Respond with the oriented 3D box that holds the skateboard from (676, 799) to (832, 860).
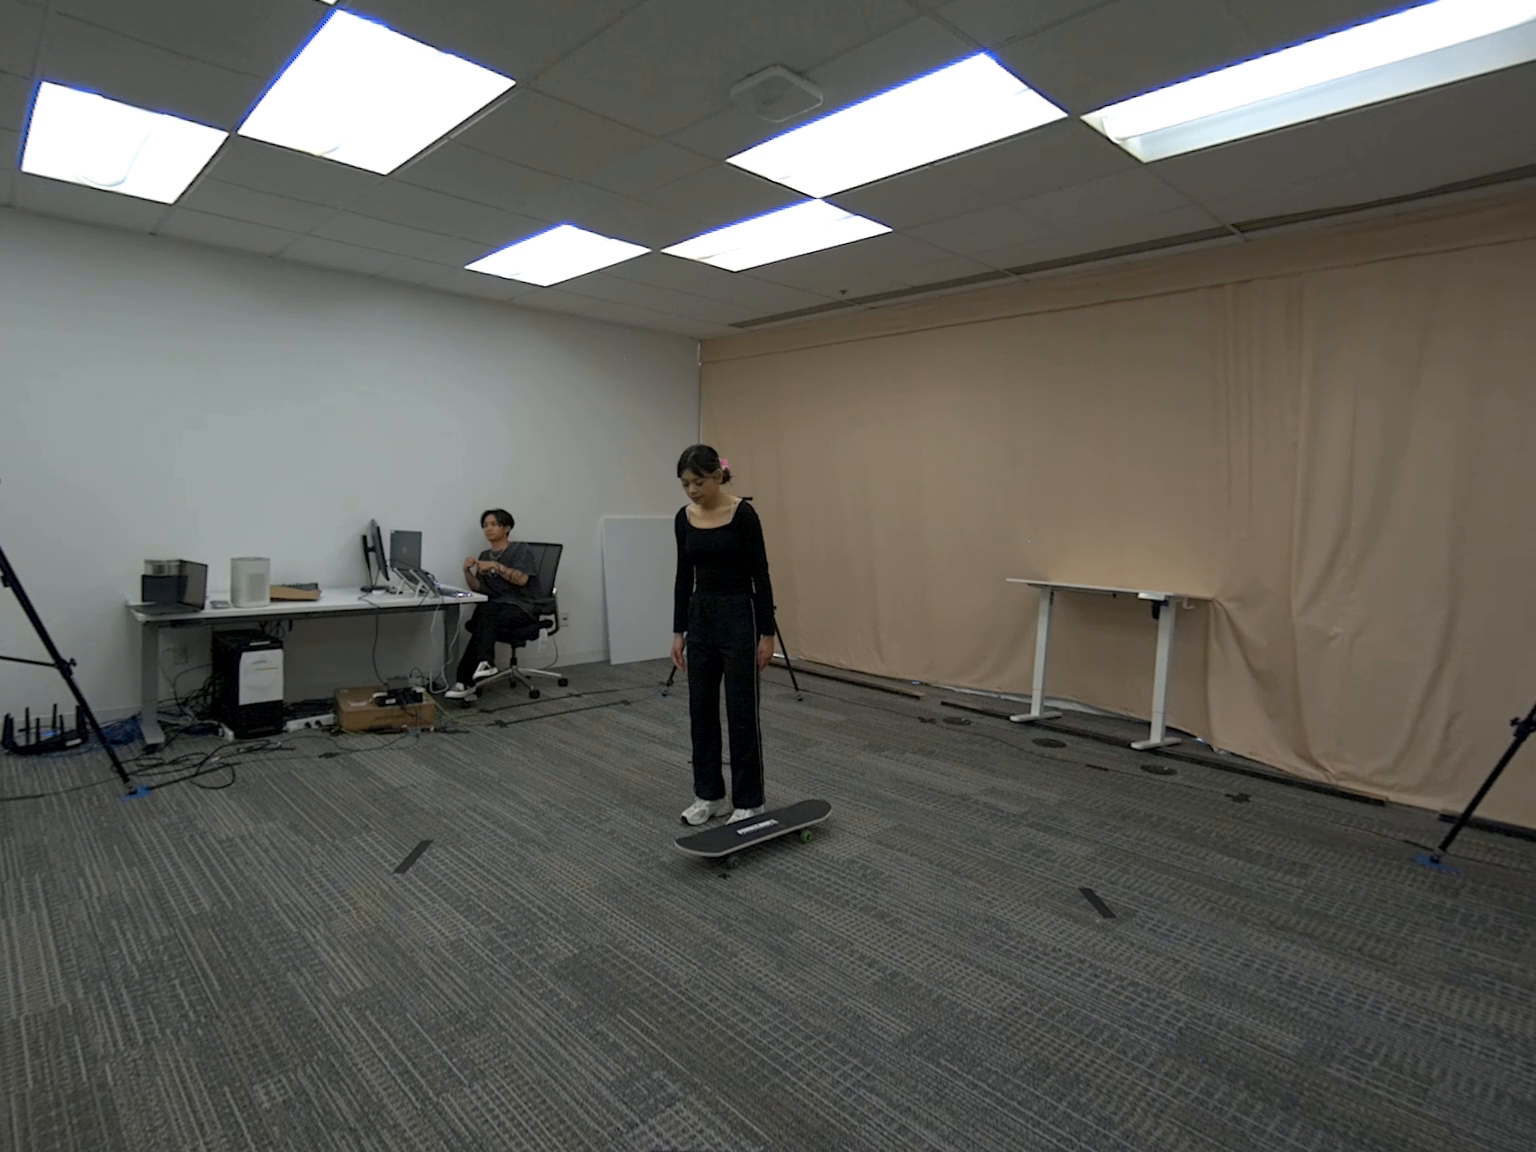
[{"bbox_3d":[-0.045,1.031,3.357,0.768,0.110,0.198,-3,7,-42],"label":"skateboard"}]
